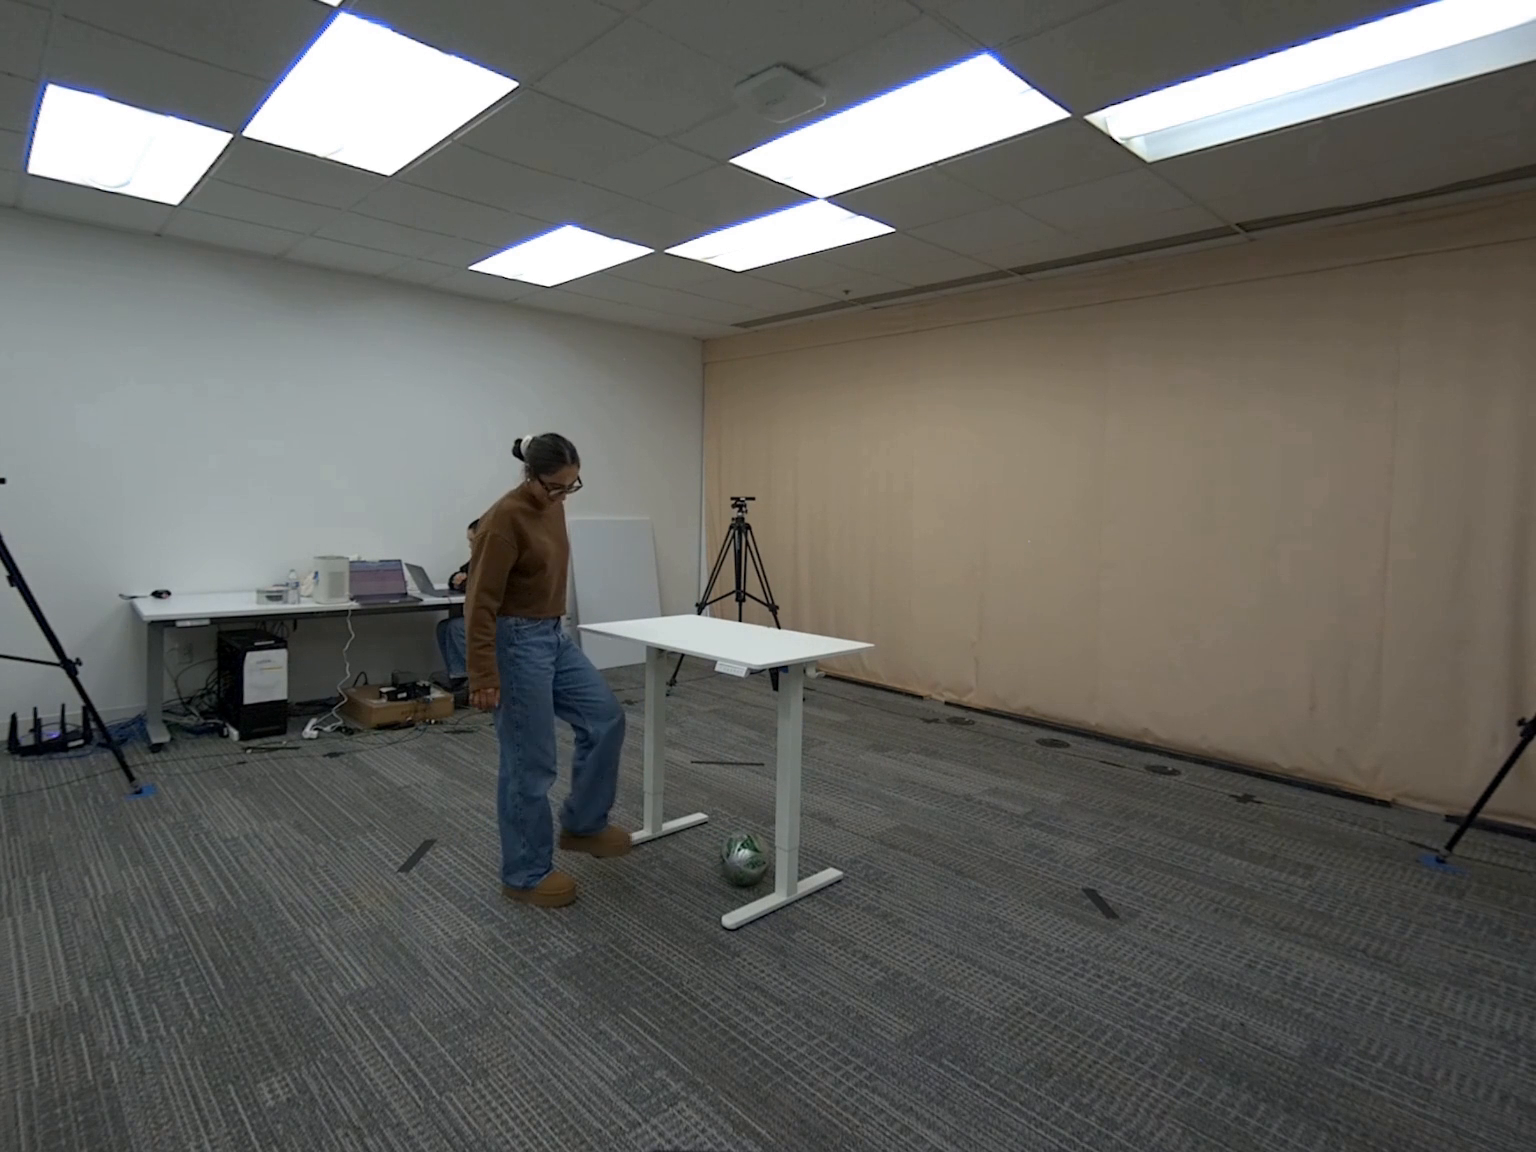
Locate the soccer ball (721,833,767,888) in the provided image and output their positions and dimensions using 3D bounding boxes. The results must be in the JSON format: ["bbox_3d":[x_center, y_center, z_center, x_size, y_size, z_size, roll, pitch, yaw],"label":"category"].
[{"bbox_3d":[-0.094,1.022,3.045,0.187,0.187,0.188,1,4,-1],"label":"soccer ball"}]
